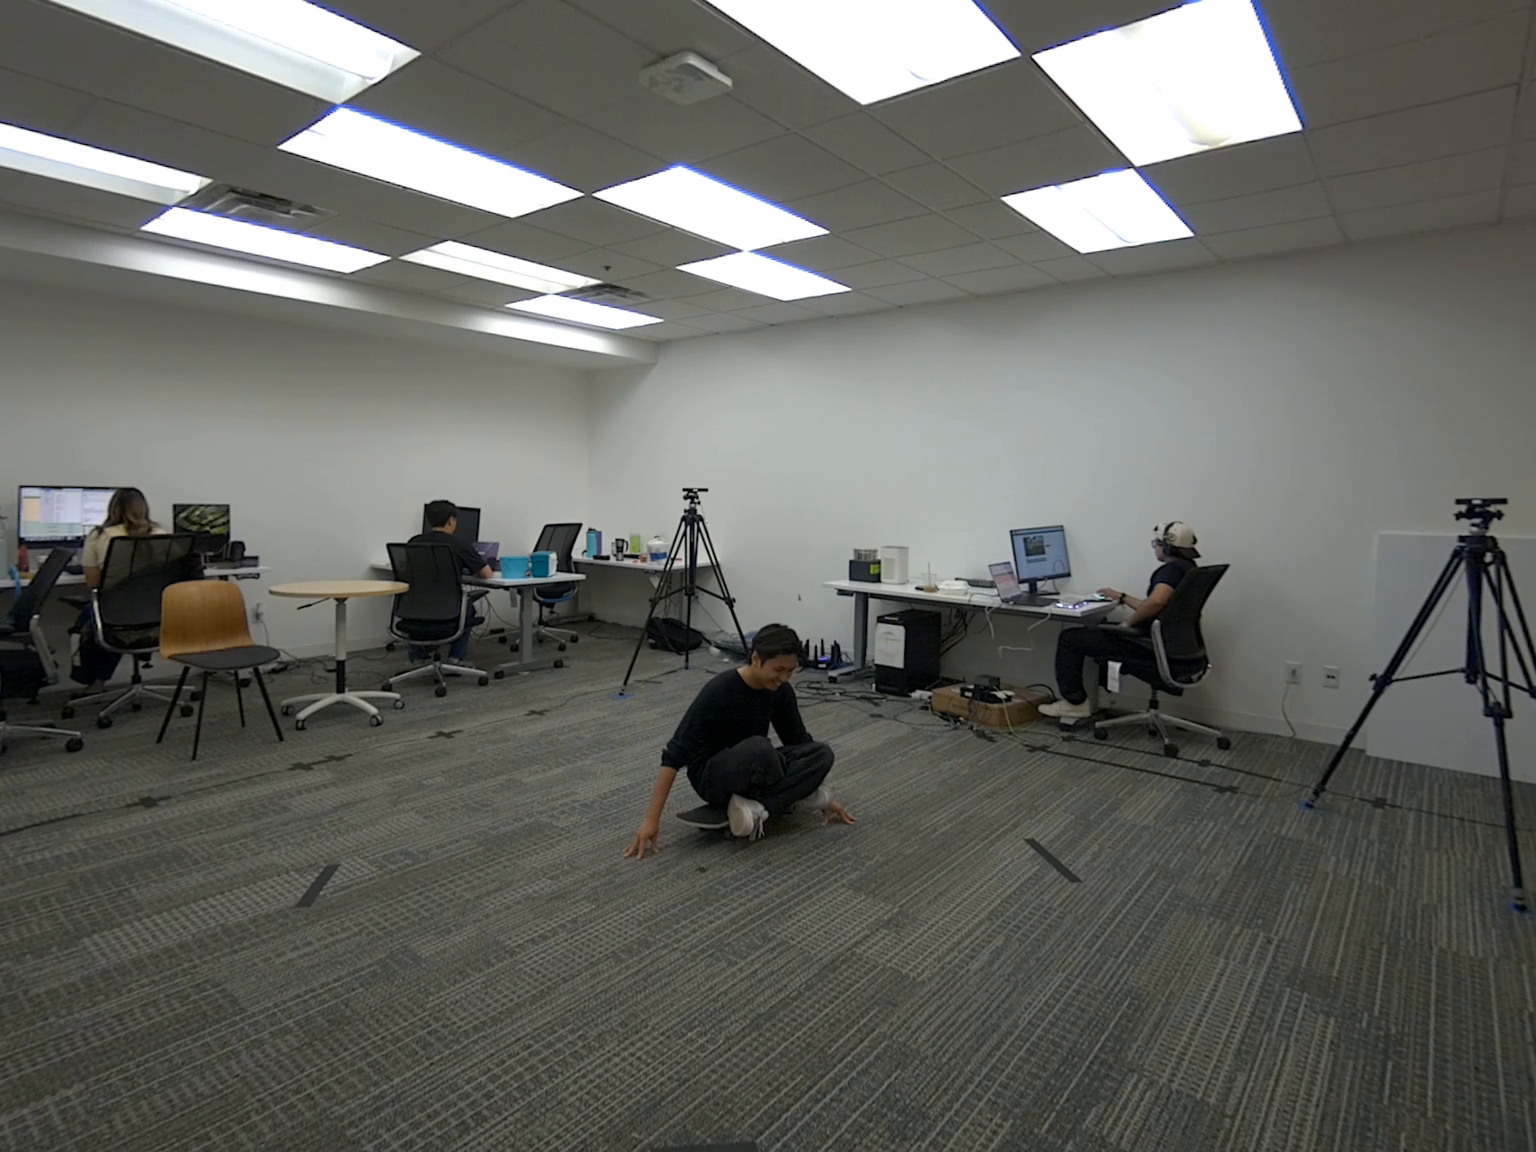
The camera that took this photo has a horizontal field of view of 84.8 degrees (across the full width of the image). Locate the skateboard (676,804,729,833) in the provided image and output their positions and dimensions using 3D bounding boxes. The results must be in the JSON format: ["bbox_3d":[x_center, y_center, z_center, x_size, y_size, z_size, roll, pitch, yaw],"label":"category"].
[{"bbox_3d":[-0.086,0.975,3.573,0.200,0.110,0.762,5,6,43],"label":"skateboard"}]
